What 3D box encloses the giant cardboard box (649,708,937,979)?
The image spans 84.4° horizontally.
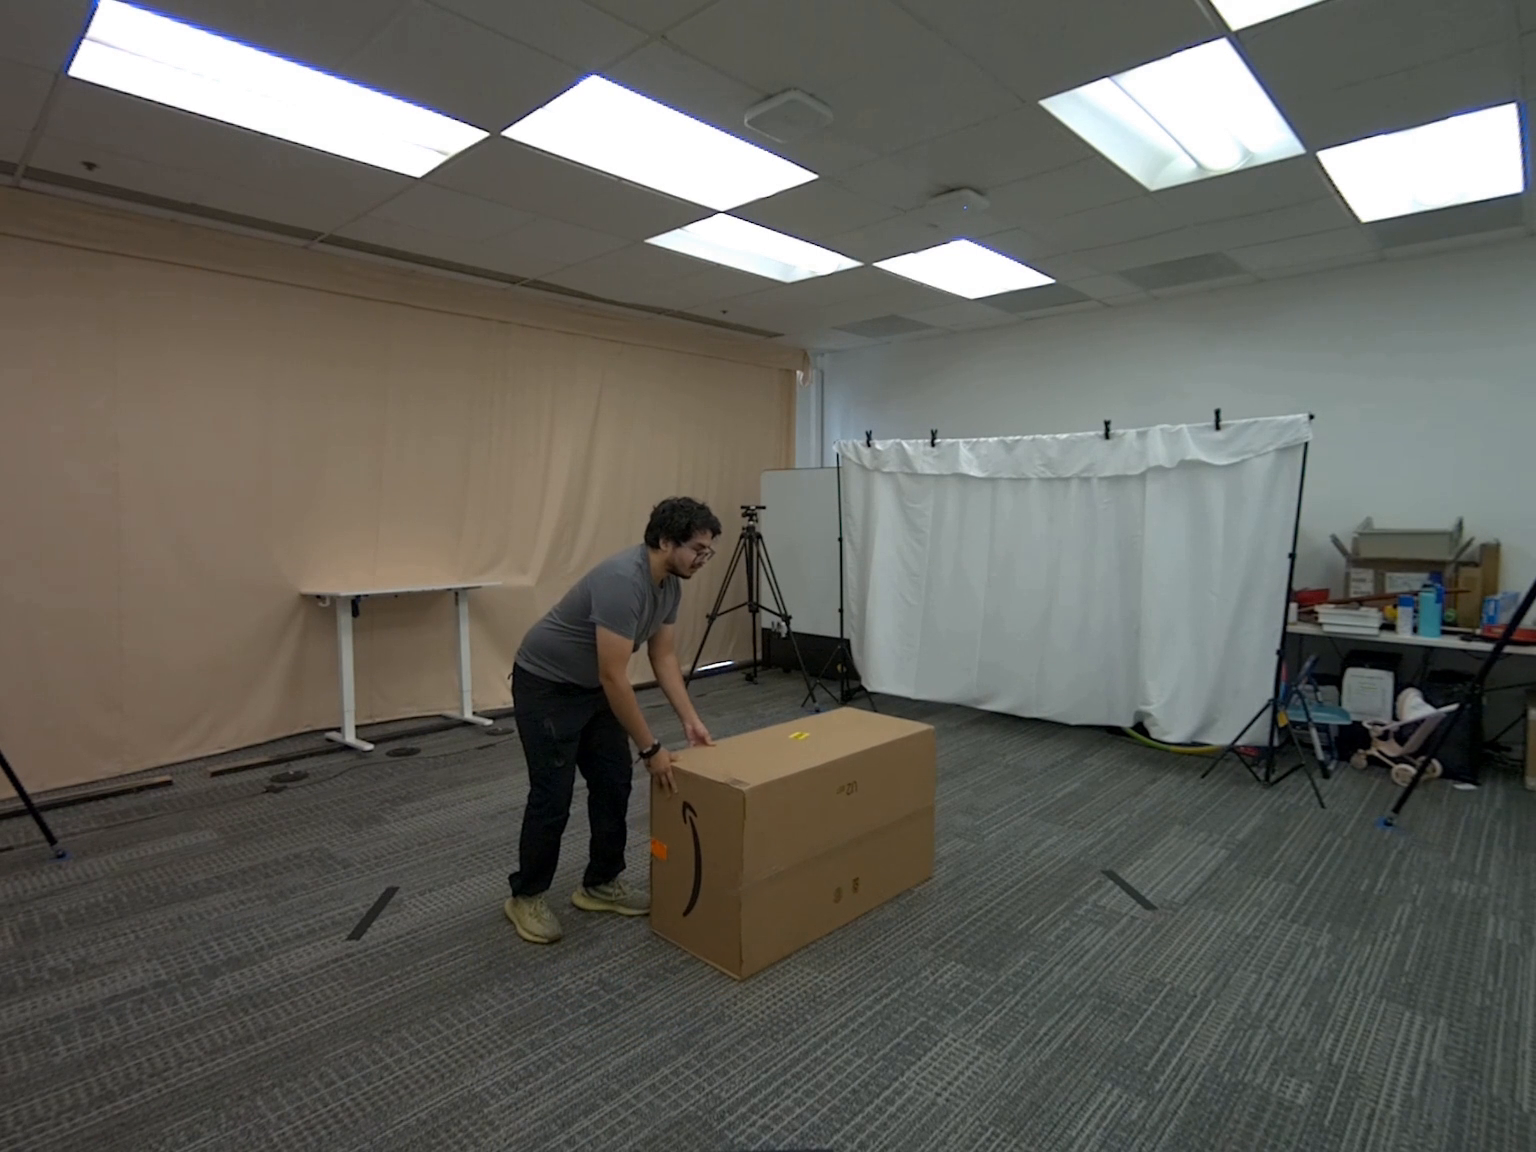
[{"bbox_3d":[0.121,0.863,2.942,0.440,0.576,0.994,4,6,45],"label":"giant cardboard box"}]
